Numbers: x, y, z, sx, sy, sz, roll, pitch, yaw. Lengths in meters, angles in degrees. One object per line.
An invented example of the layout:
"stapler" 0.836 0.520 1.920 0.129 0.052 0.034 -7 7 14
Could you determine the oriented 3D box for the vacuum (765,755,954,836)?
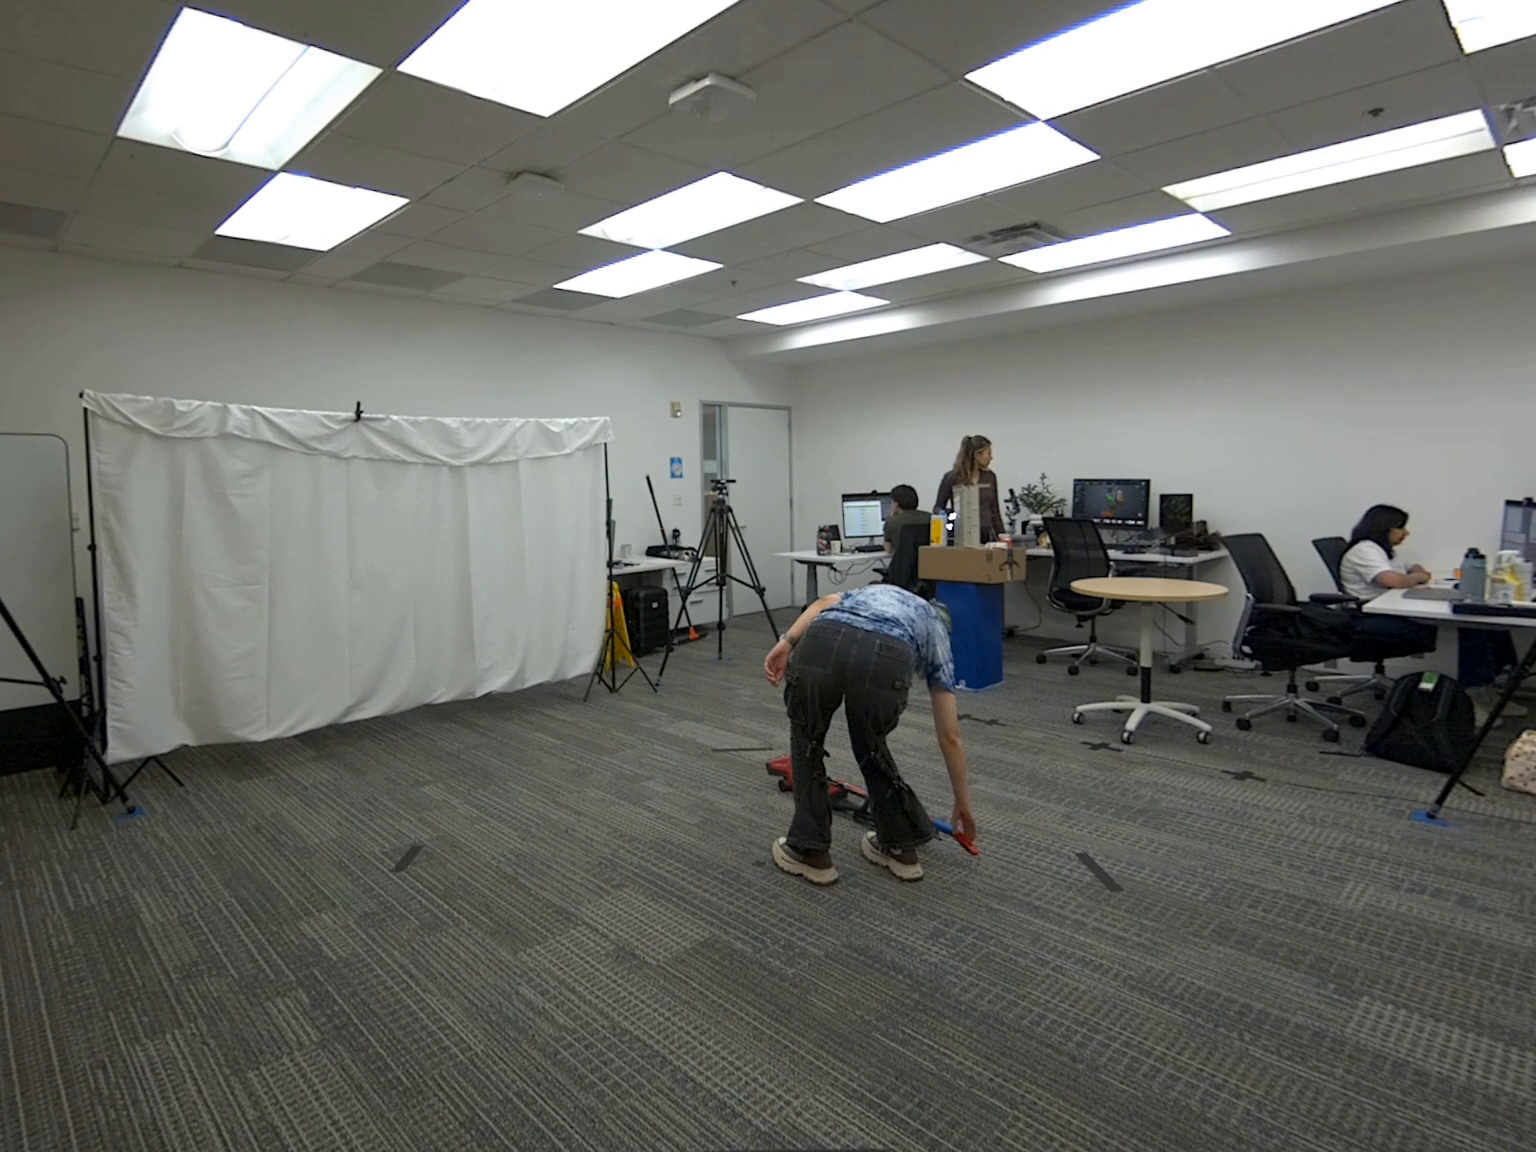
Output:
"vacuum" 0.415 0.939 3.457 0.246 0.143 1.082 -8 11 -37
